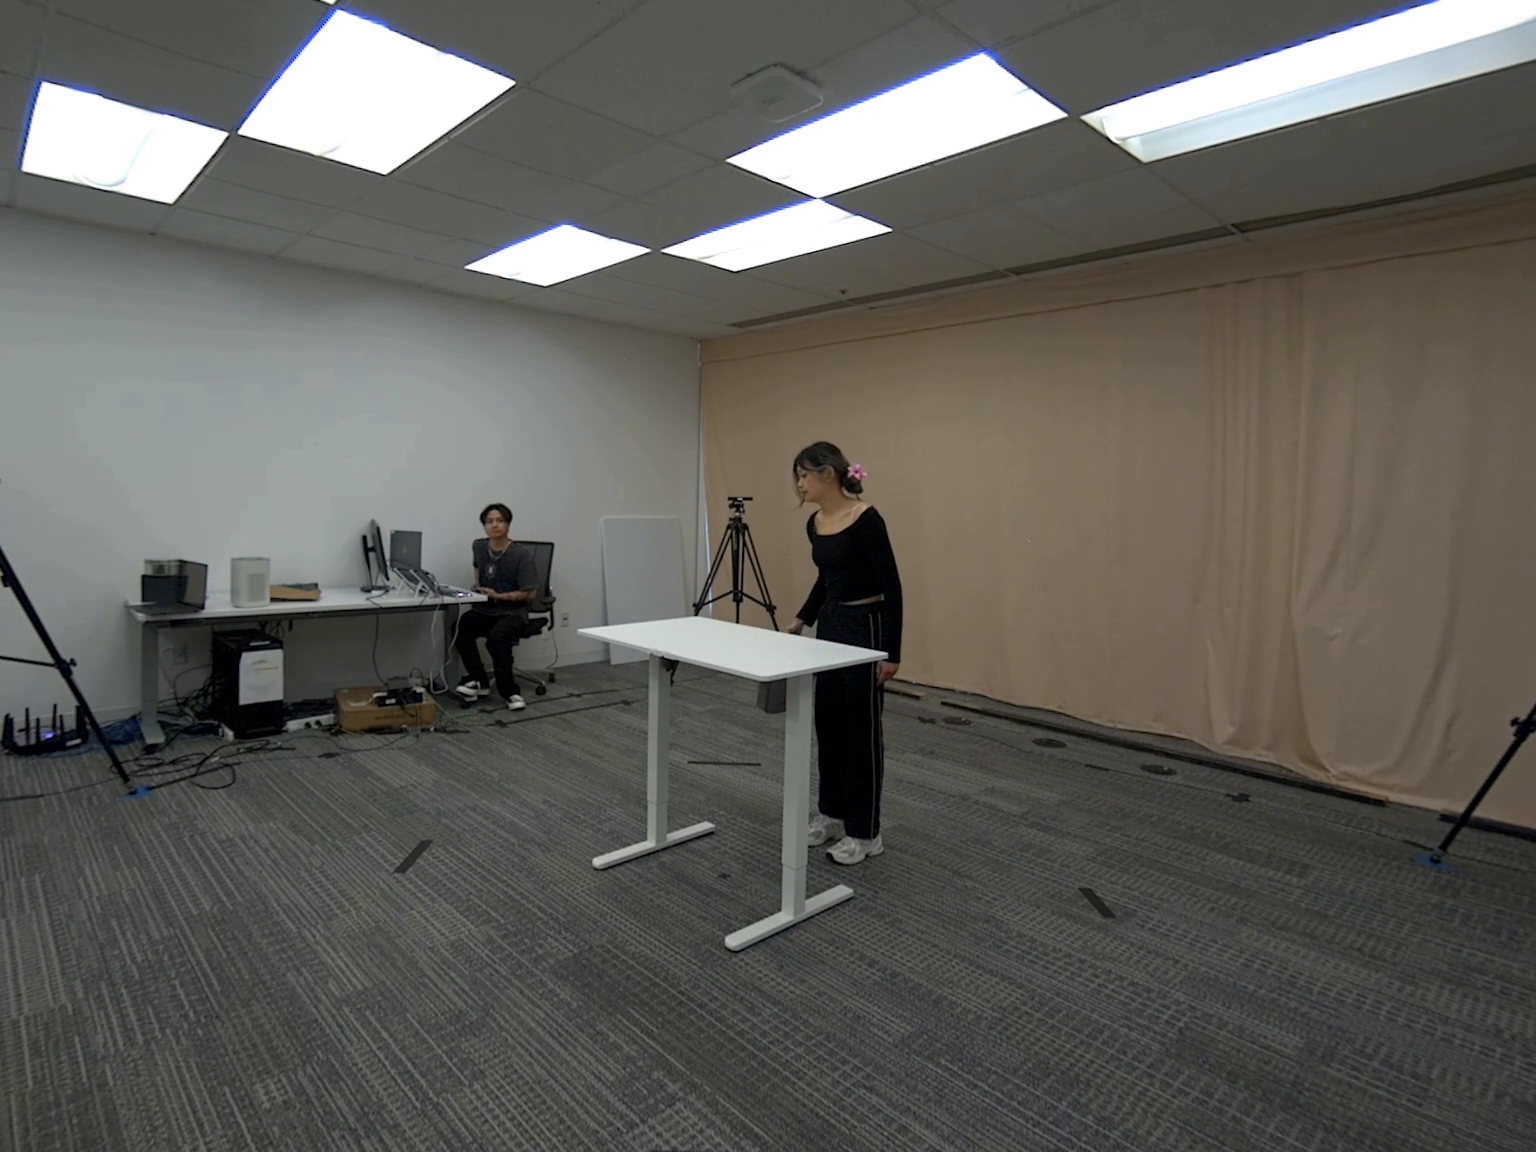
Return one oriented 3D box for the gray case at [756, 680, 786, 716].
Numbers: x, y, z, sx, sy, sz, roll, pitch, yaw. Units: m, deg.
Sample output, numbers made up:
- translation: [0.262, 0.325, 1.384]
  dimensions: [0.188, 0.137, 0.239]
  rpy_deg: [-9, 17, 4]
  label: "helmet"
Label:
- translation: [0.074, 0.429, 3.529]
  dimensions: [0.251, 0.259, 0.107]
  rpy_deg: [-3, 11, -42]
  label: "gray case"
